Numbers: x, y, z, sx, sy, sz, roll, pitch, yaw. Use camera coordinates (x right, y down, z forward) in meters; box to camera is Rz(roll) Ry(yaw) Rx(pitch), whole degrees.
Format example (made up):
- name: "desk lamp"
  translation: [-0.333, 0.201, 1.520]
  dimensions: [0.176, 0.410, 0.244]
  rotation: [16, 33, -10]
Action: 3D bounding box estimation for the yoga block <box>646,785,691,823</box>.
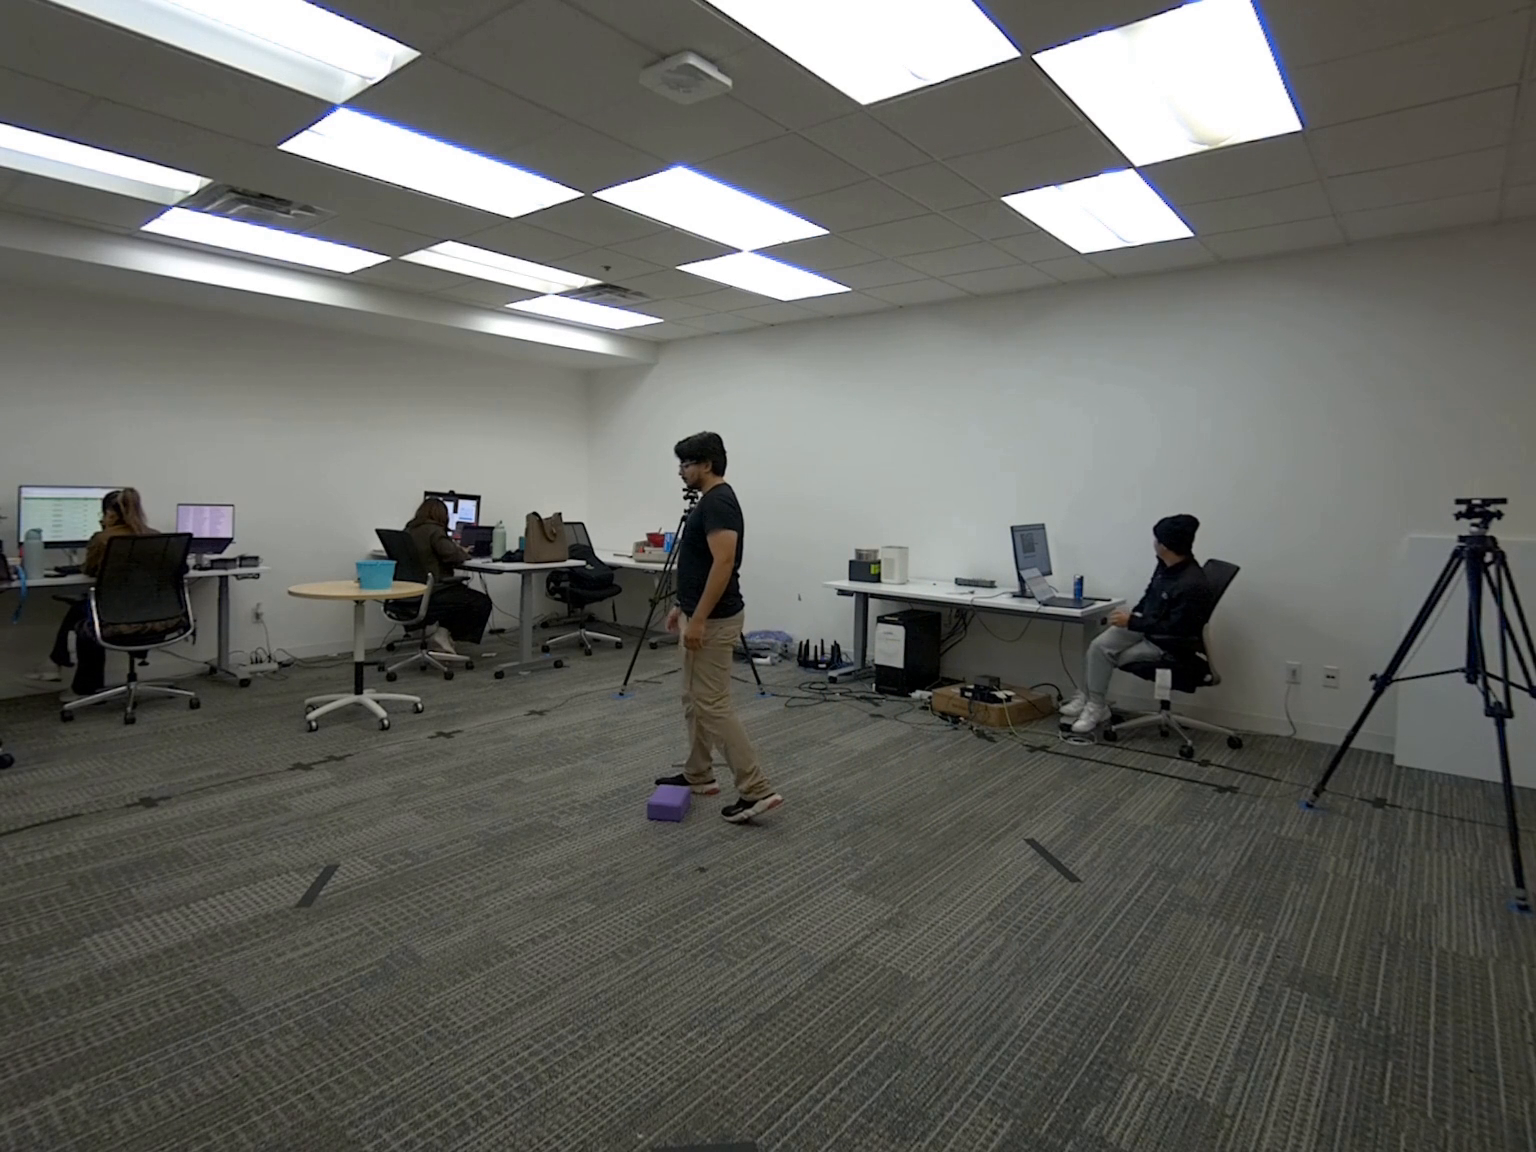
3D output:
- name: "yoga block"
  translation: [-0.437, 0.975, 3.664]
  dimensions: [0.150, 0.076, 0.228]
  rotation: [2, 6, 6]
